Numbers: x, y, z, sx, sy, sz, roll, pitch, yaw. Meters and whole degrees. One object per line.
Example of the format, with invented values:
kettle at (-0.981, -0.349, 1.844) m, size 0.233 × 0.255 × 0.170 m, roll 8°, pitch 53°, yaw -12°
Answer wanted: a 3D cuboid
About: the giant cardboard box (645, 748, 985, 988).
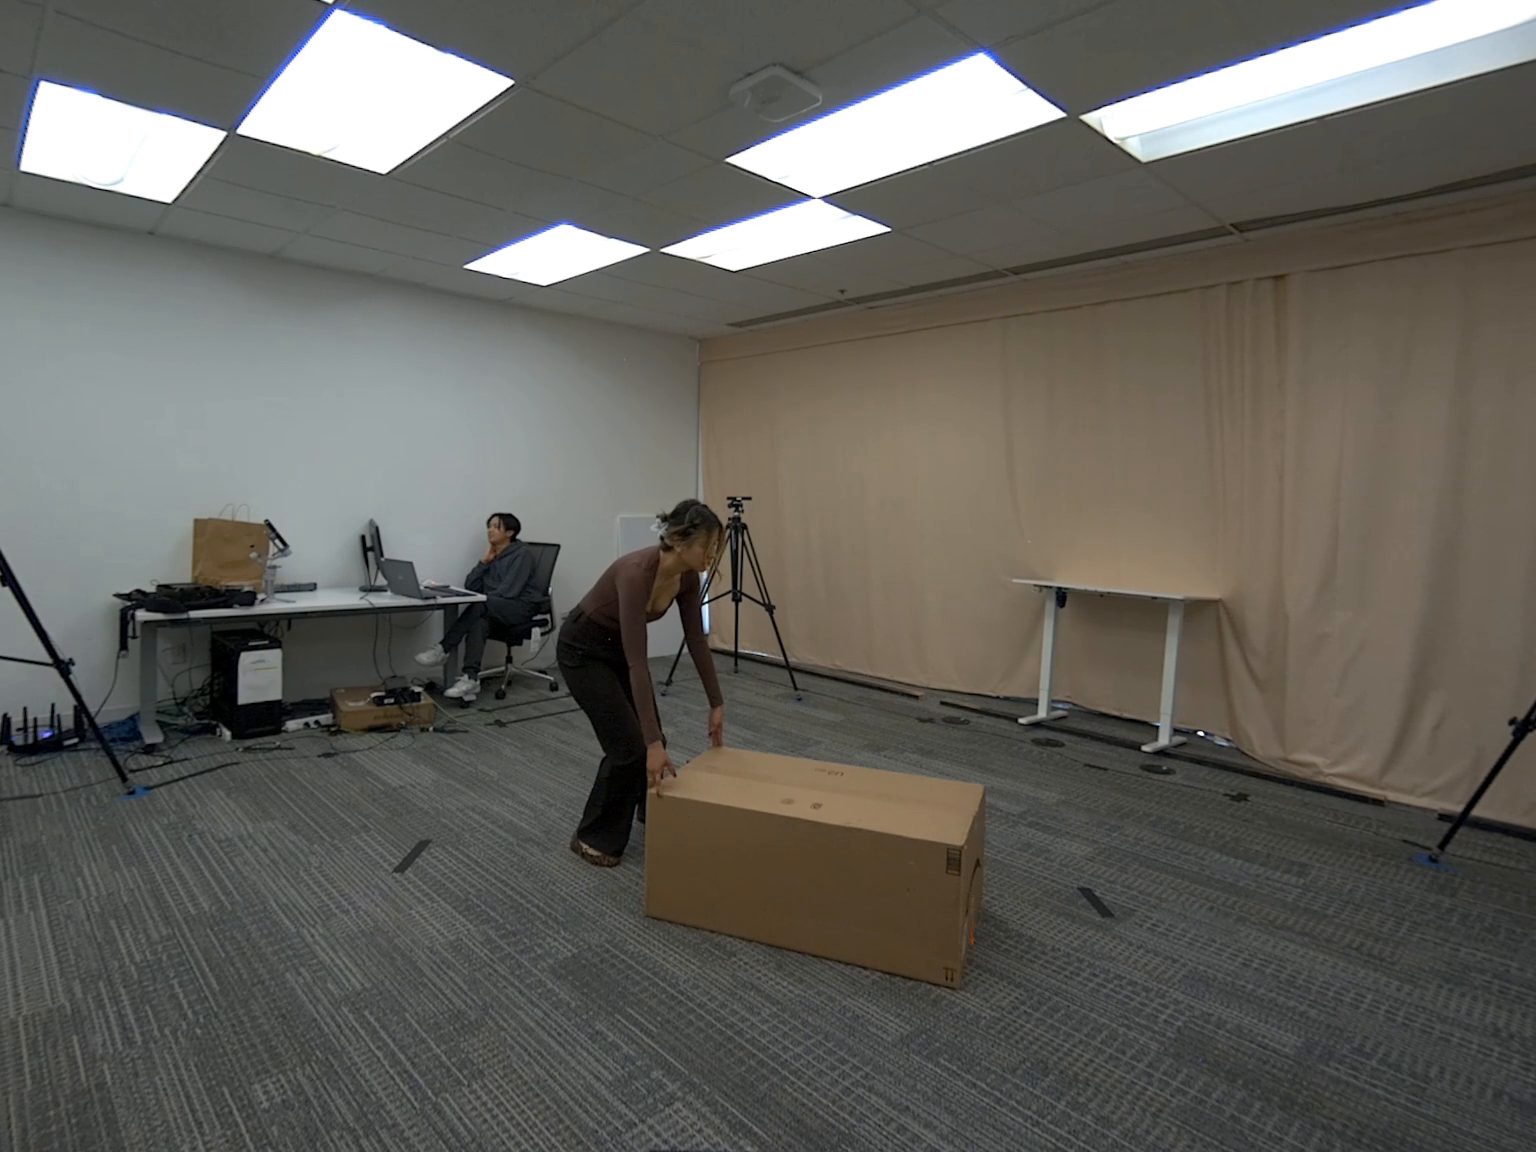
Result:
giant cardboard box at (0.167, 0.925, 2.845) m, size 1.045 × 0.446 × 0.575 m, roll 4°, pitch 4°, yaw 22°
